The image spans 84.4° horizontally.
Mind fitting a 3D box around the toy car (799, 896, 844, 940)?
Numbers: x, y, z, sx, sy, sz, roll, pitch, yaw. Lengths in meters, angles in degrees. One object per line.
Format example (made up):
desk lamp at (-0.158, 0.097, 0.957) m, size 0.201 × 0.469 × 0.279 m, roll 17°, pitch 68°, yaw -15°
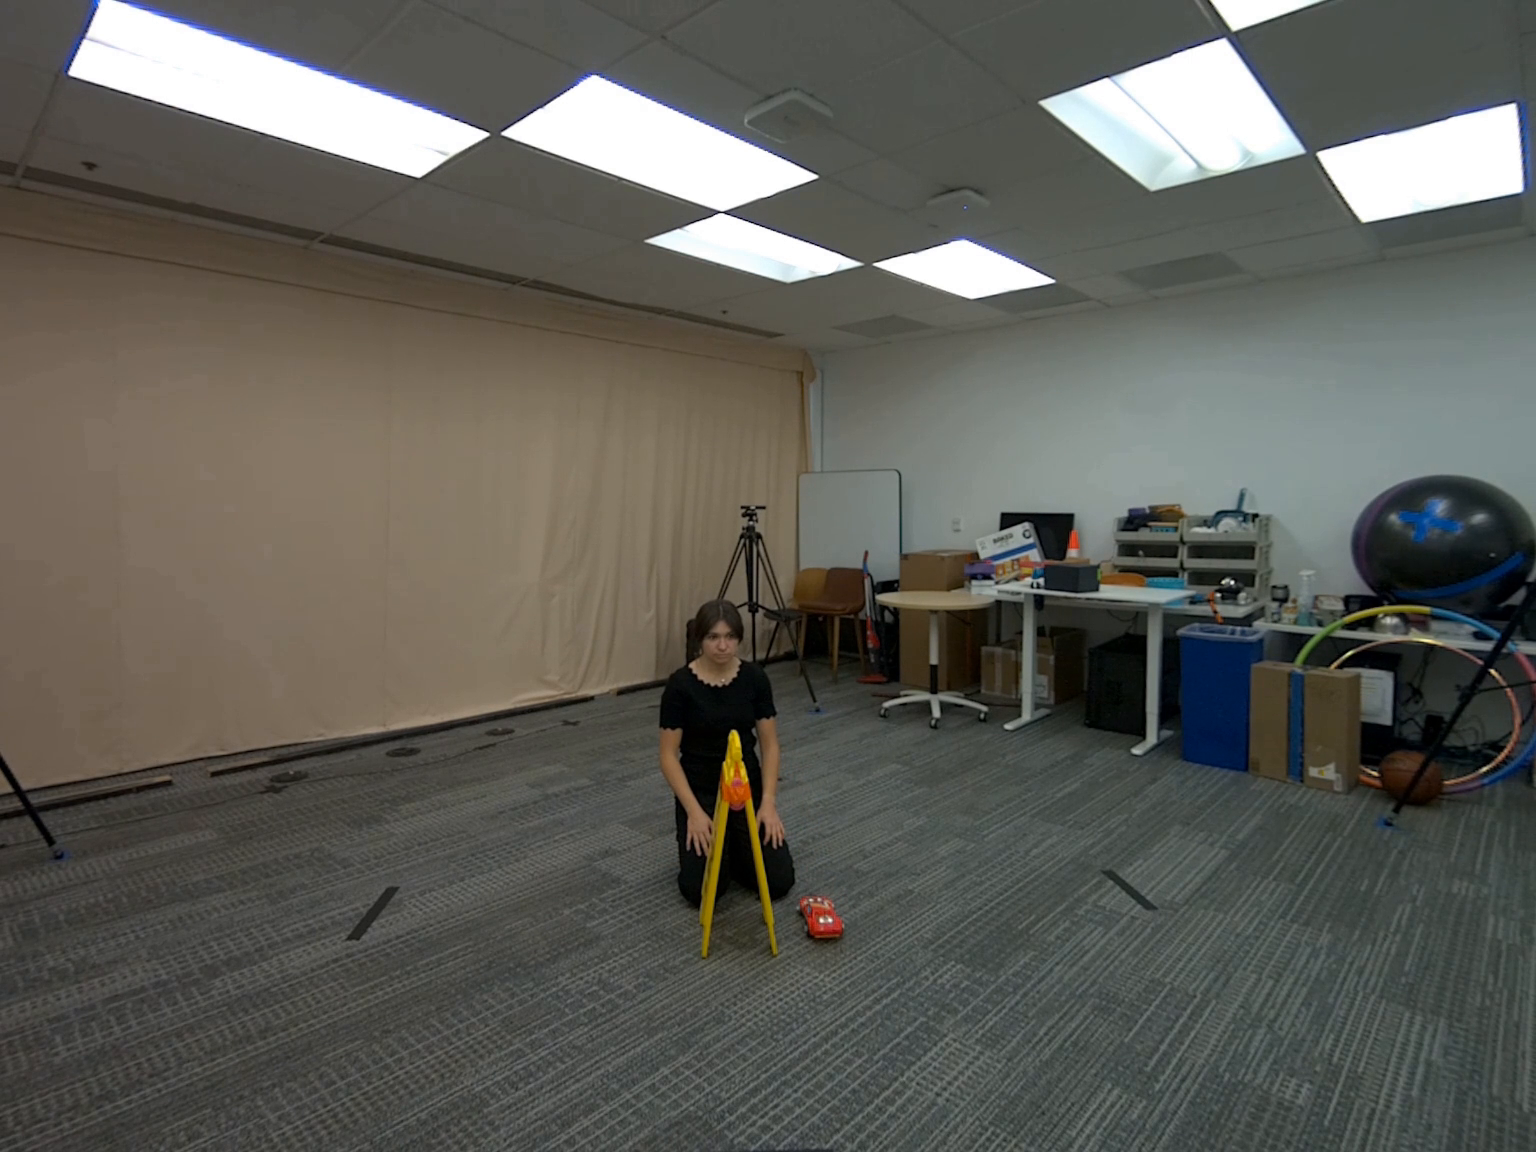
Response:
toy car at (0.174, 1.132, 2.762) m, size 0.129 × 0.083 × 0.255 m, roll 0°, pitch -7°, yaw -8°
